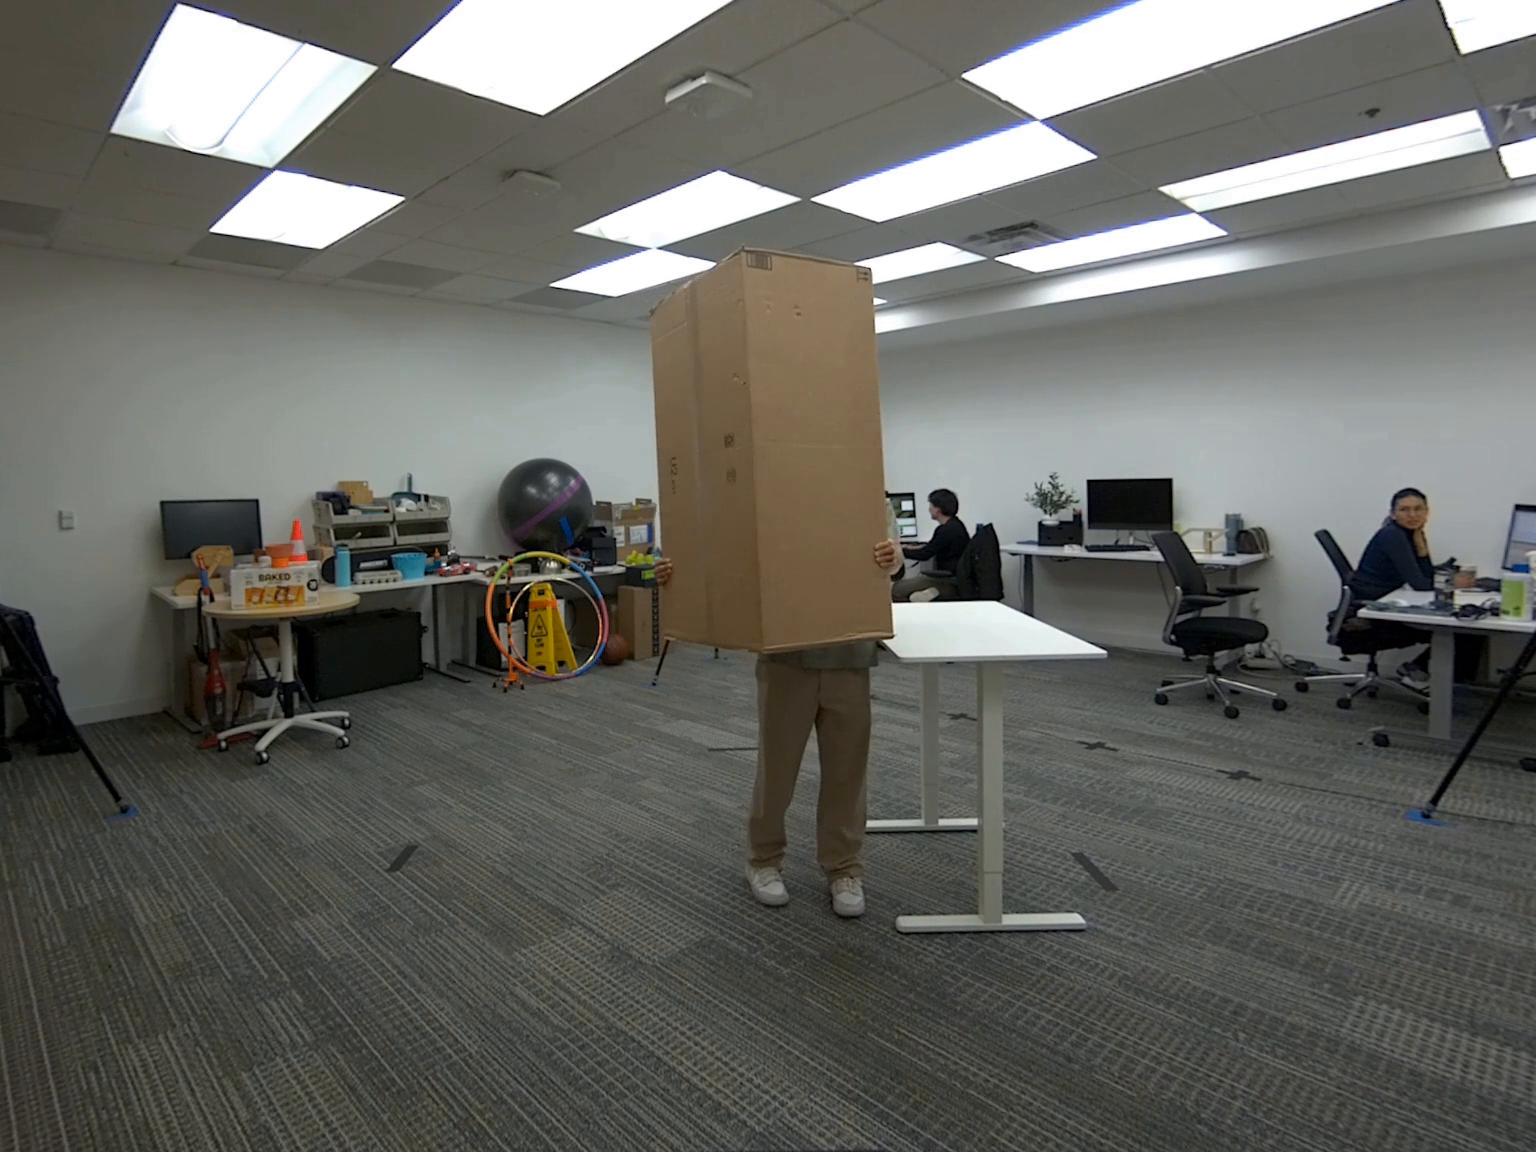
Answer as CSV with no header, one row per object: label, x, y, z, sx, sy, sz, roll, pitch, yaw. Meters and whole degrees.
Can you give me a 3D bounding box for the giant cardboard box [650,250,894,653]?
giant cardboard box,-0.010,-0.325,2.477,0.416,1.028,0.591,-2,-2,-31
